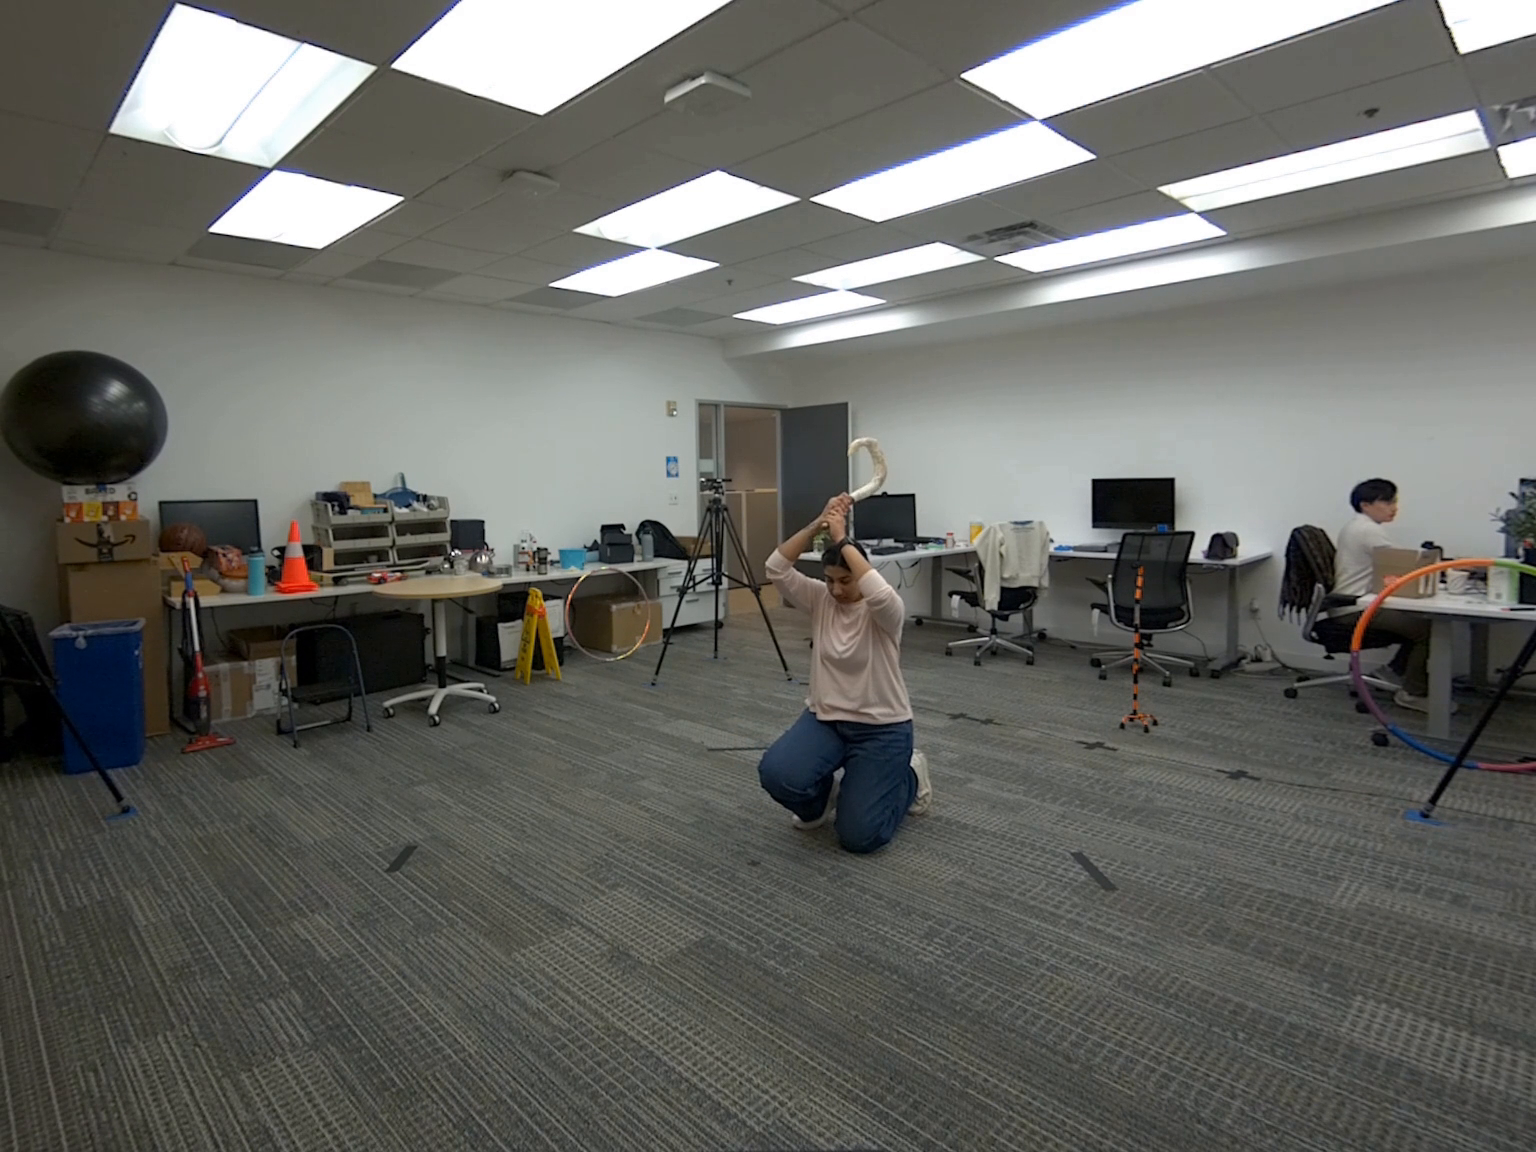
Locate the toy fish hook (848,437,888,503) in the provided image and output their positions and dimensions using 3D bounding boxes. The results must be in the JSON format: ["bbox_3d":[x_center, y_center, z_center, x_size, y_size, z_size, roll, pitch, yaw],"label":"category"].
[{"bbox_3d":[0.310,-0.362,3.250,0.049,0.220,0.507,-14,27,45],"label":"toy fish hook"}]
